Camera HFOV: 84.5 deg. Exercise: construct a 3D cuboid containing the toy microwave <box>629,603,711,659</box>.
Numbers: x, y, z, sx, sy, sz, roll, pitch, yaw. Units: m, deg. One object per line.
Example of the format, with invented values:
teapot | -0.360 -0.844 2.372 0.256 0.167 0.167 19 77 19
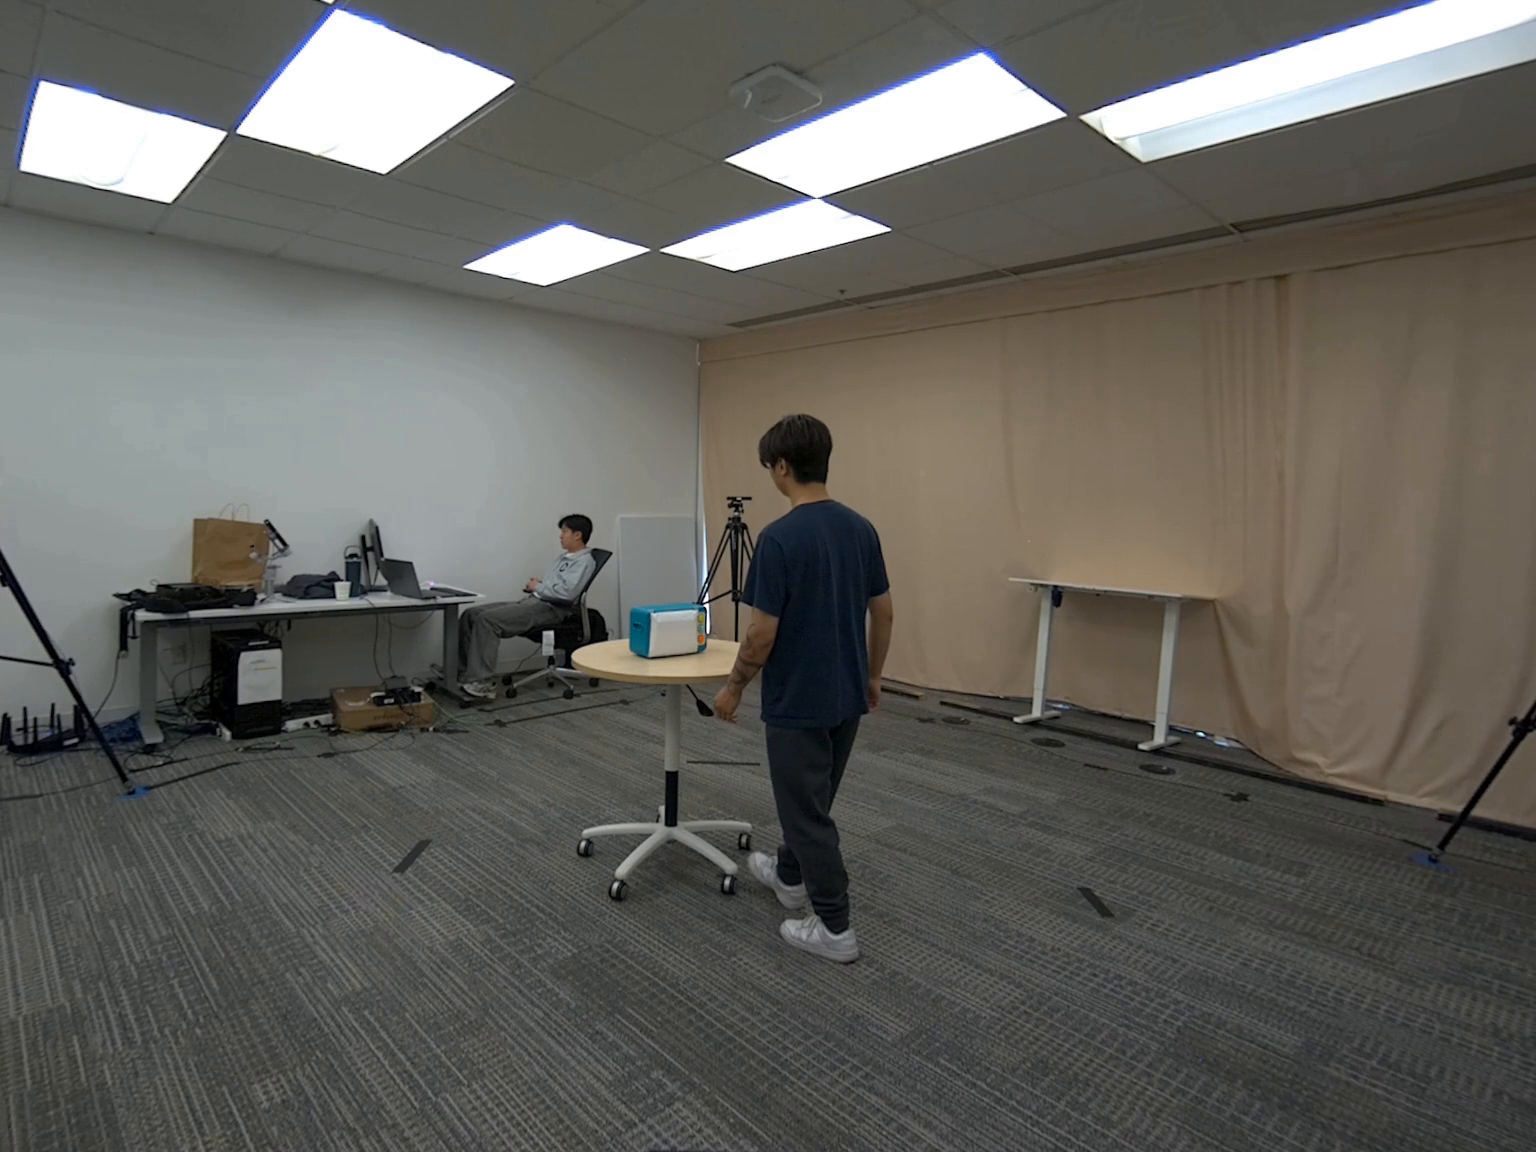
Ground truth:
toy microwave | -0.374 0.205 3.179 0.280 0.183 0.156 -2 6 -38
